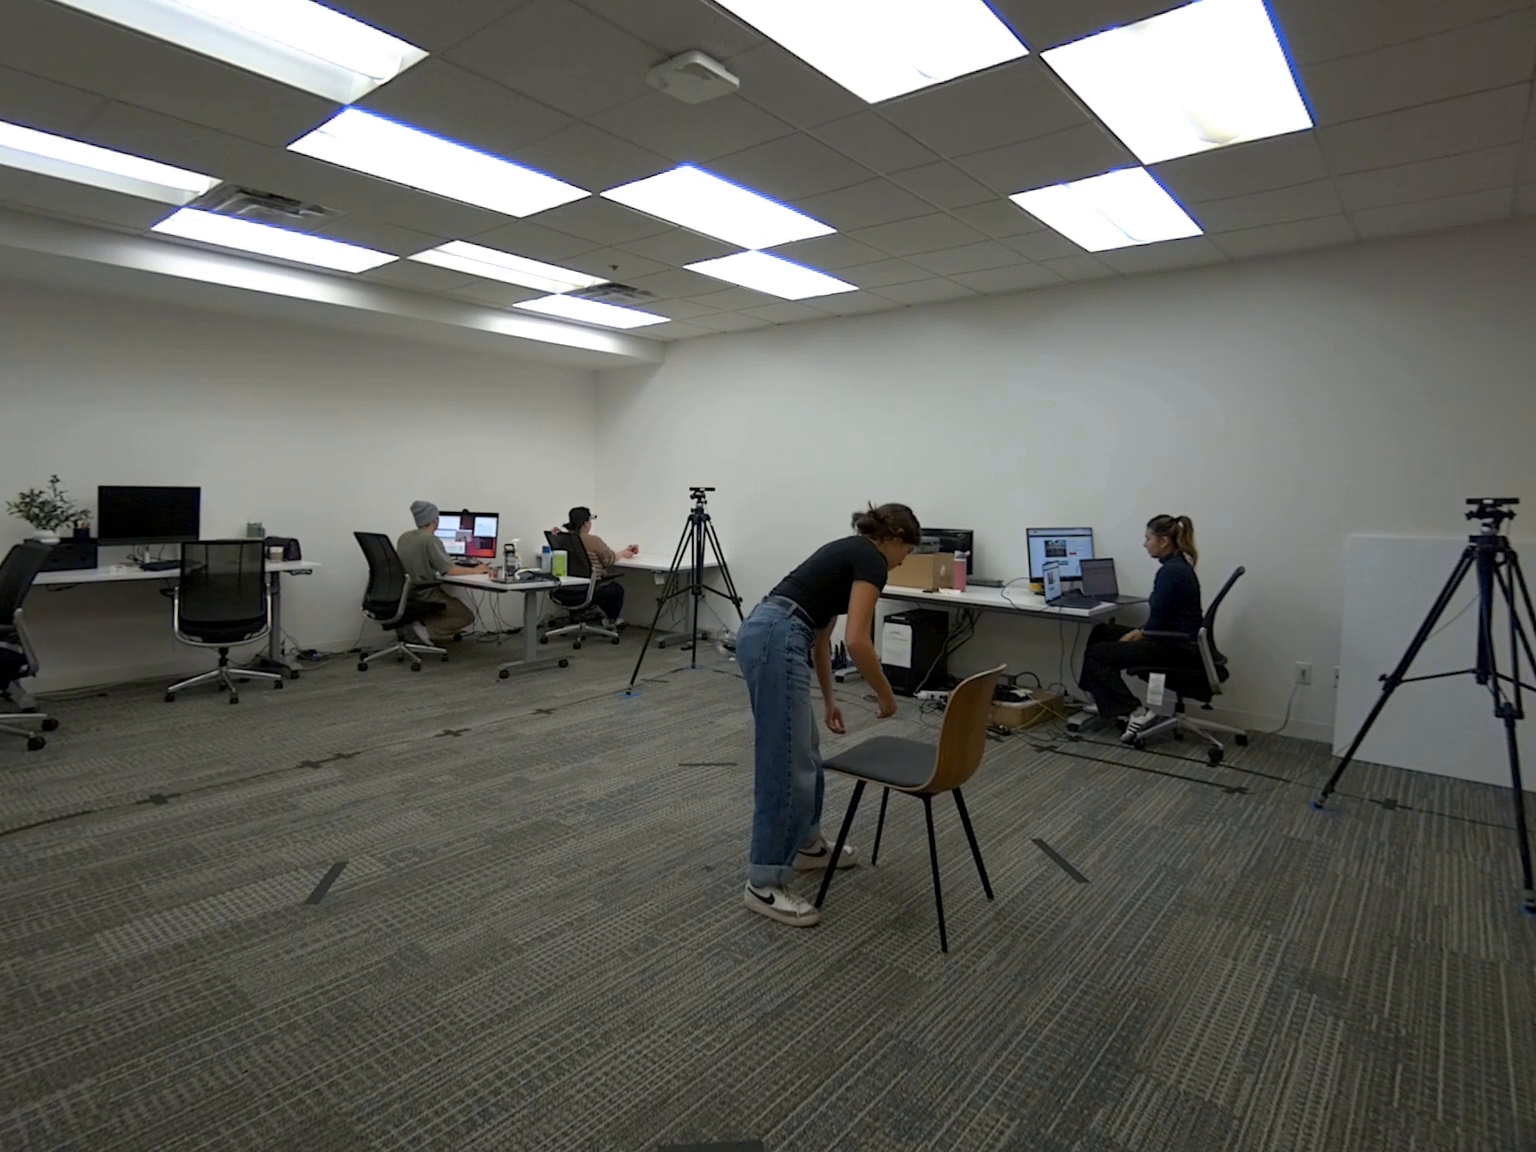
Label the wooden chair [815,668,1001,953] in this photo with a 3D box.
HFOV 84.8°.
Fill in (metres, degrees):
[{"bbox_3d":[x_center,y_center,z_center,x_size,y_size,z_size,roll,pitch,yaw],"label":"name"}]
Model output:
[{"bbox_3d":[0.457,0.673,2.854,0.541,0.873,0.464,9,7,33],"label":"wooden chair"}]
